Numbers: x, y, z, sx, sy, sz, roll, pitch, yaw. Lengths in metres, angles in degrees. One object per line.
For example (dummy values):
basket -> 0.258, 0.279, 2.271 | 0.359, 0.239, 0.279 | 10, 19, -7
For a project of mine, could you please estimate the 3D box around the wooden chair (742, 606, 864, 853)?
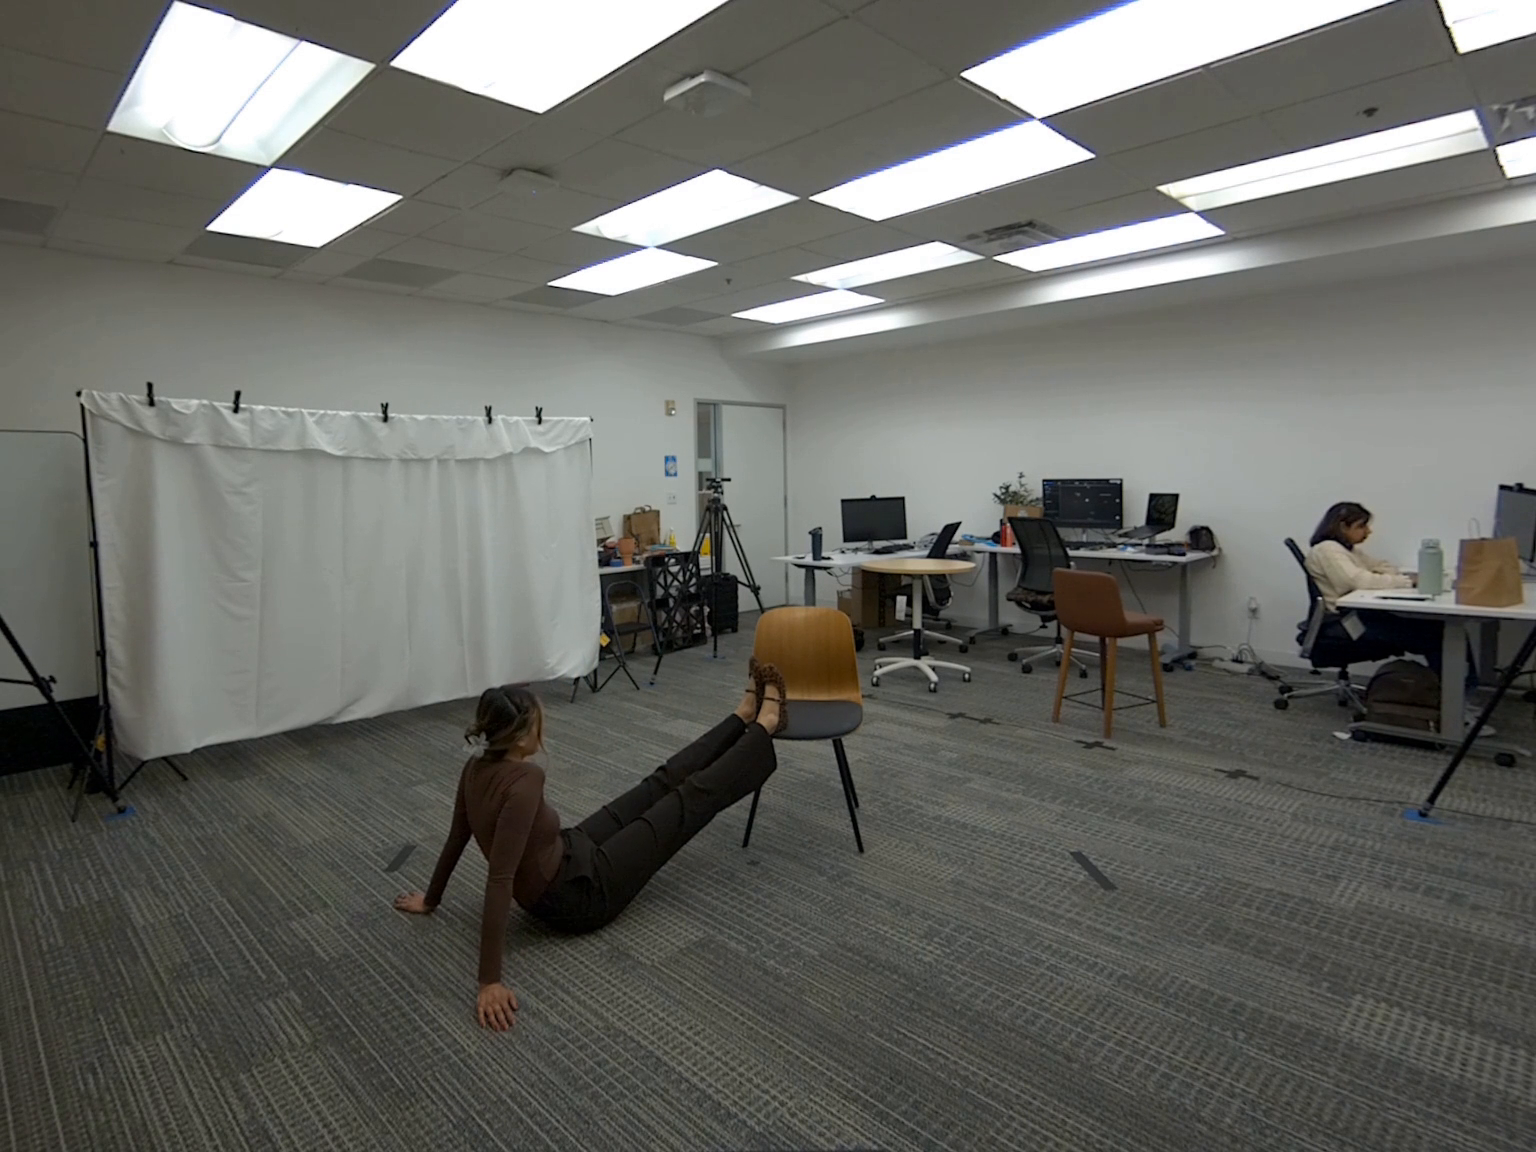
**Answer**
wooden chair -> 0.140, 0.579, 3.388 | 0.481, 0.878, 0.519 | 0, 0, 6
